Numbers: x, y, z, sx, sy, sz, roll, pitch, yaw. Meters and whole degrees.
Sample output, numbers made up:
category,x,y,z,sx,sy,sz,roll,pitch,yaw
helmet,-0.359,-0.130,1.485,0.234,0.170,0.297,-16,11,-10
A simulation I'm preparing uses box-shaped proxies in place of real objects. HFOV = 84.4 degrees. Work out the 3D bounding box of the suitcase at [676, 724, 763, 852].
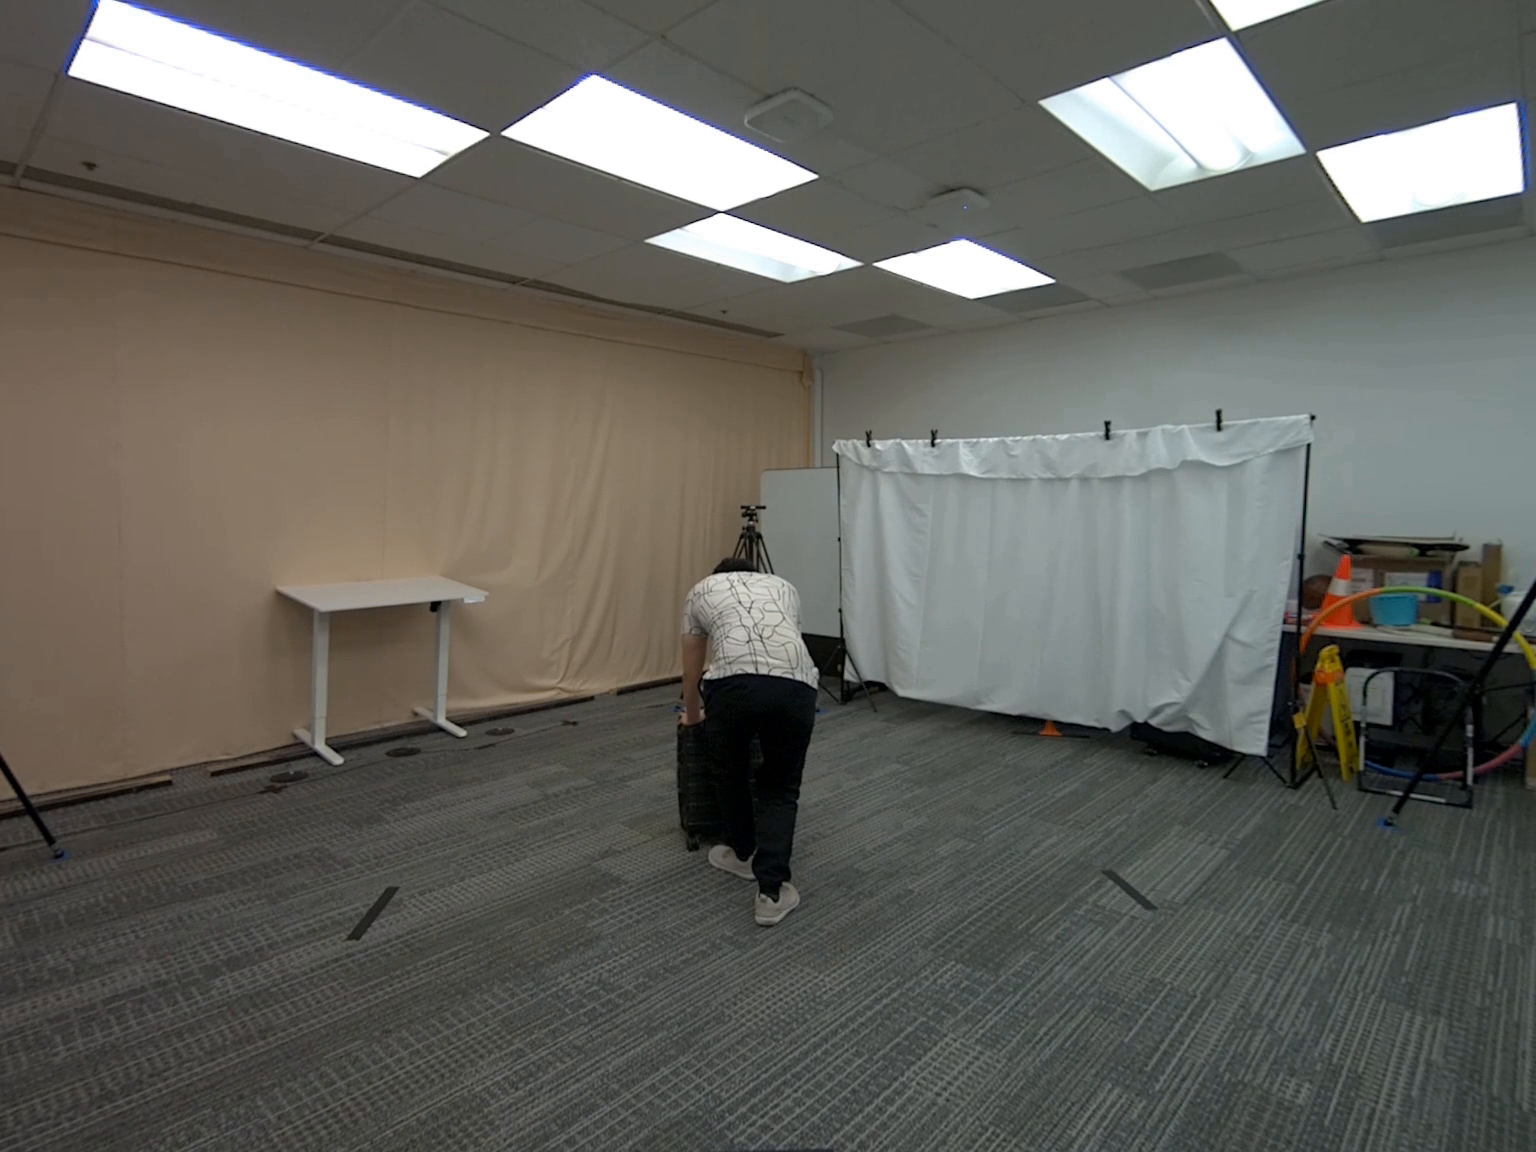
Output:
category,x,y,z,sx,sy,sz,roll,pitch,yaw
suitcase,-0.199,0.824,3.547,0.372,0.549,0.251,-1,2,-9
